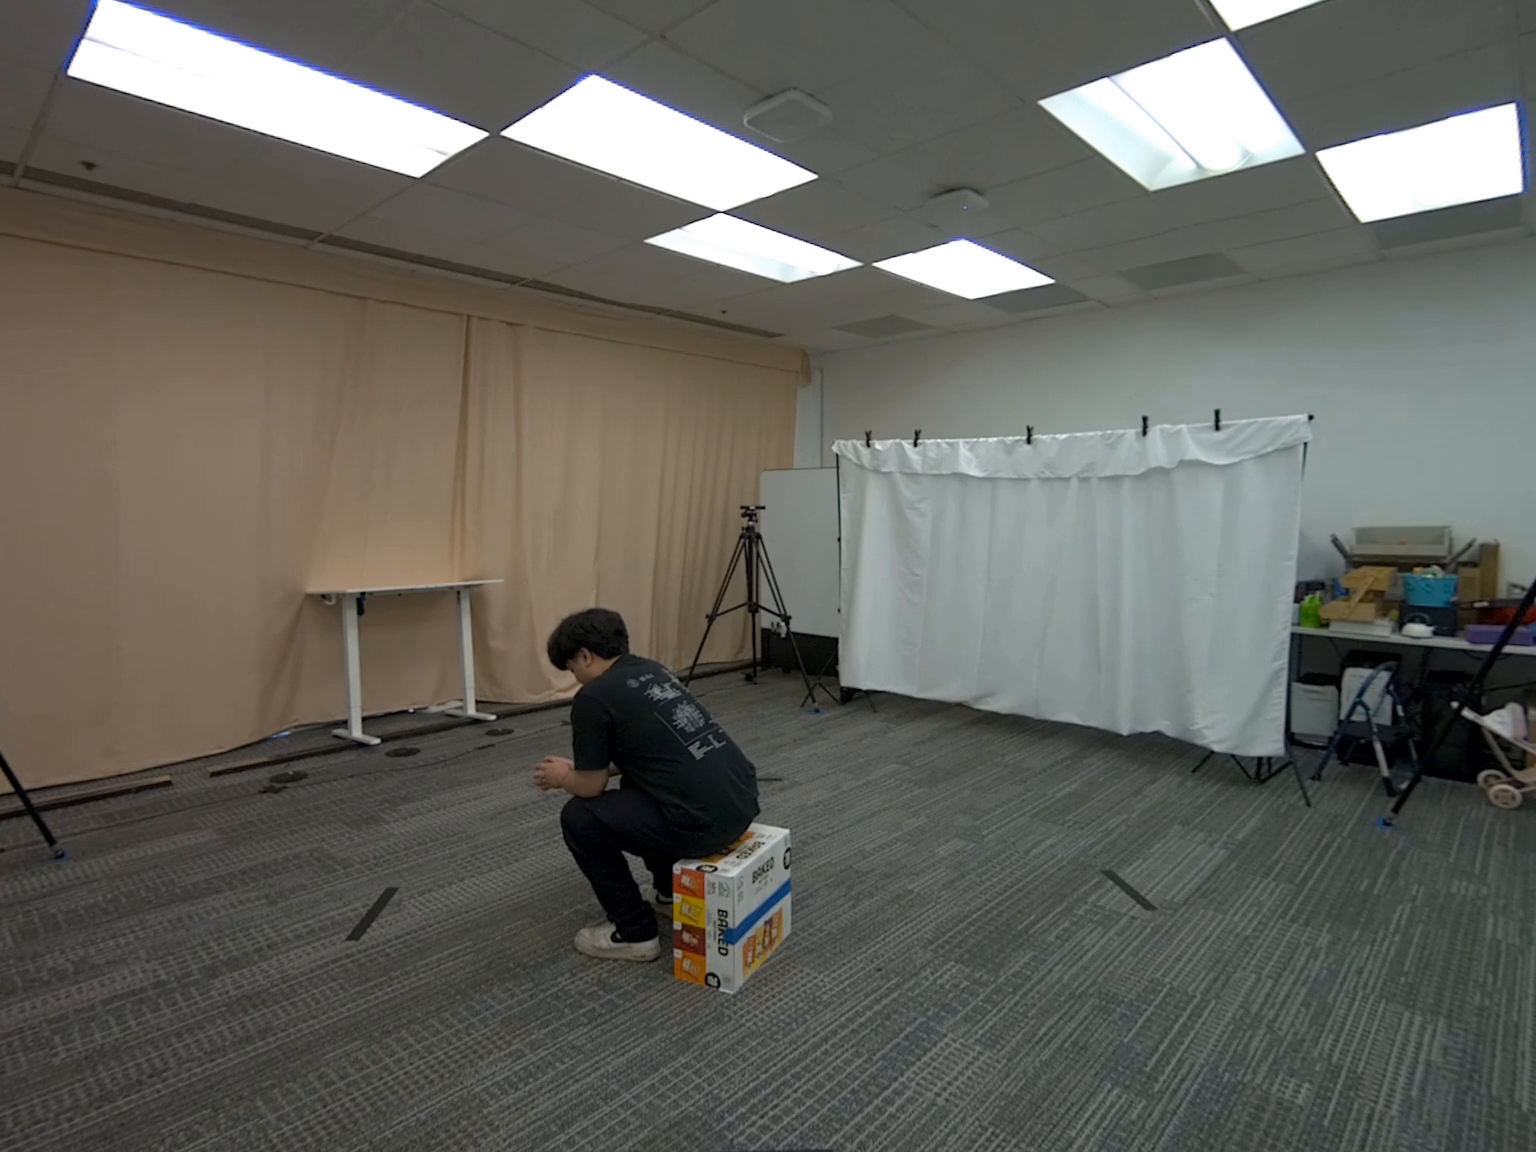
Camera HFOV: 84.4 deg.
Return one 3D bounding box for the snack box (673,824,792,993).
[{"bbox_3d":[-0.098,1.010,2.613,0.211,0.340,0.395,2,4,26],"label":"snack box"}]
